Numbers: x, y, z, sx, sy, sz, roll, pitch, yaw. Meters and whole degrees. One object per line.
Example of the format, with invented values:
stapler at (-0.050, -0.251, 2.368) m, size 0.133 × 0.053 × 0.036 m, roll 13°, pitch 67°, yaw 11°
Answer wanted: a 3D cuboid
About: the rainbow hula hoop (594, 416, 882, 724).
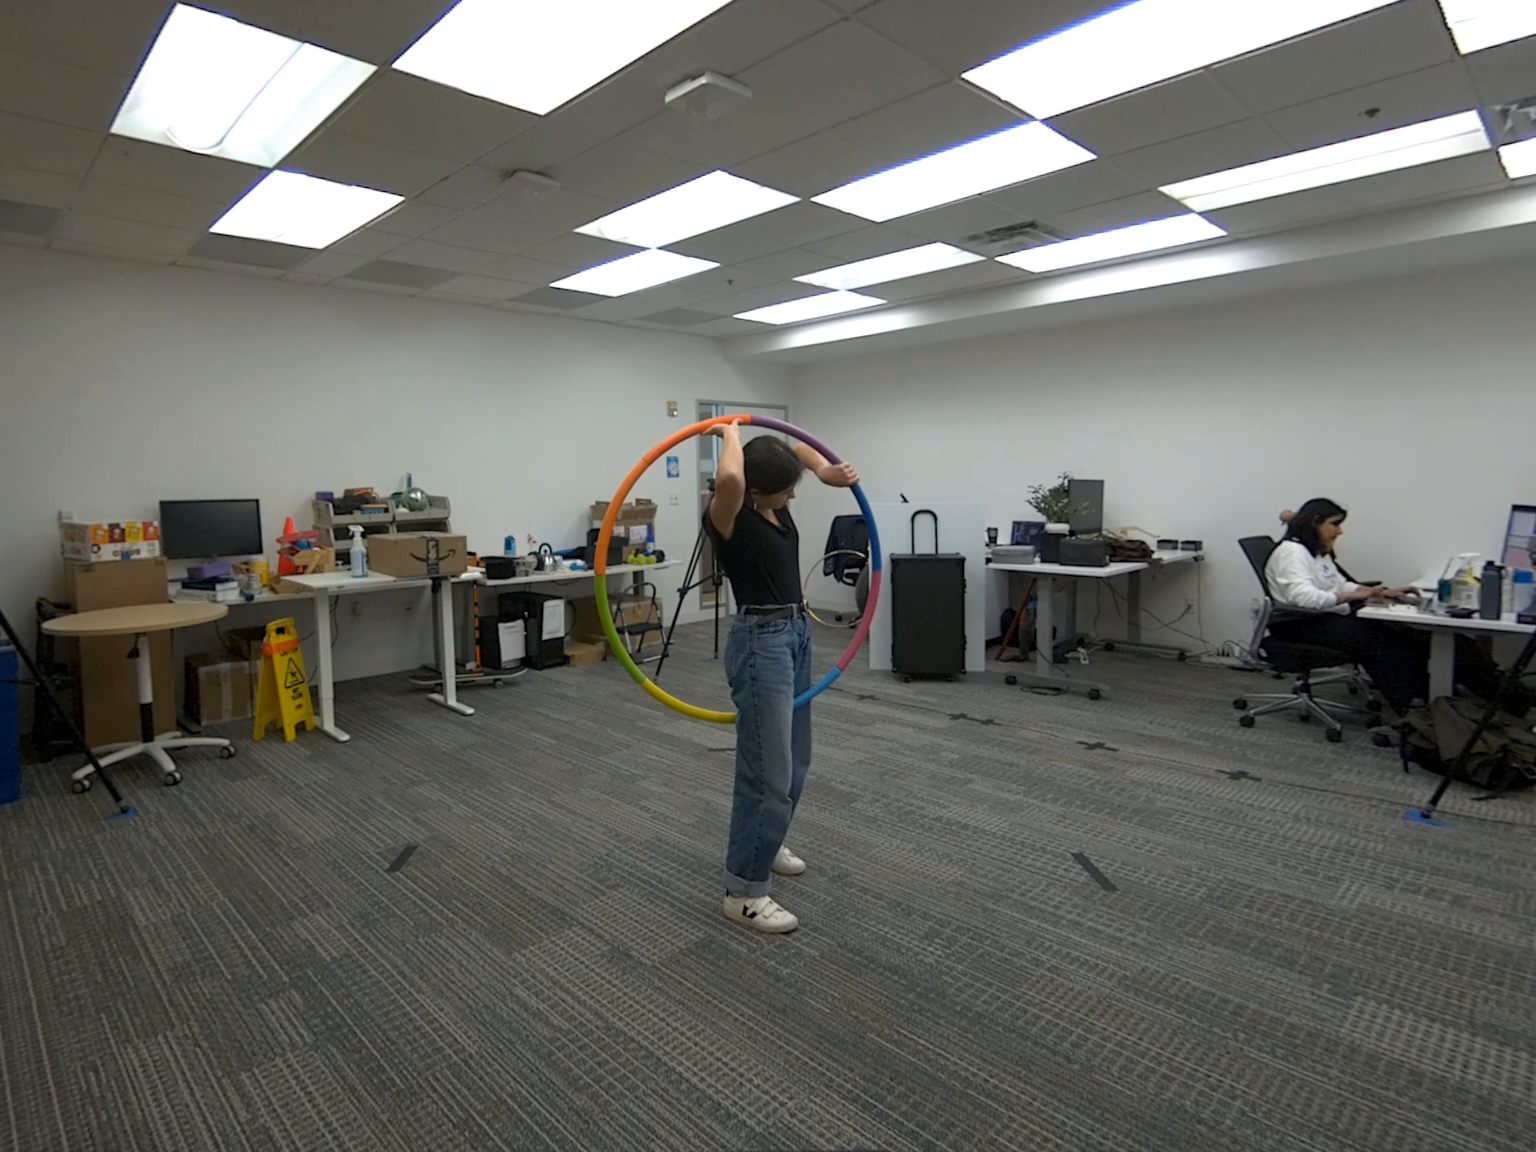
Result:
rainbow hula hoop at (-0.069, -0.024, 2.753) m, size 0.962 × 0.974 × 0.036 m, roll -3°, pitch 5°, yaw -19°
